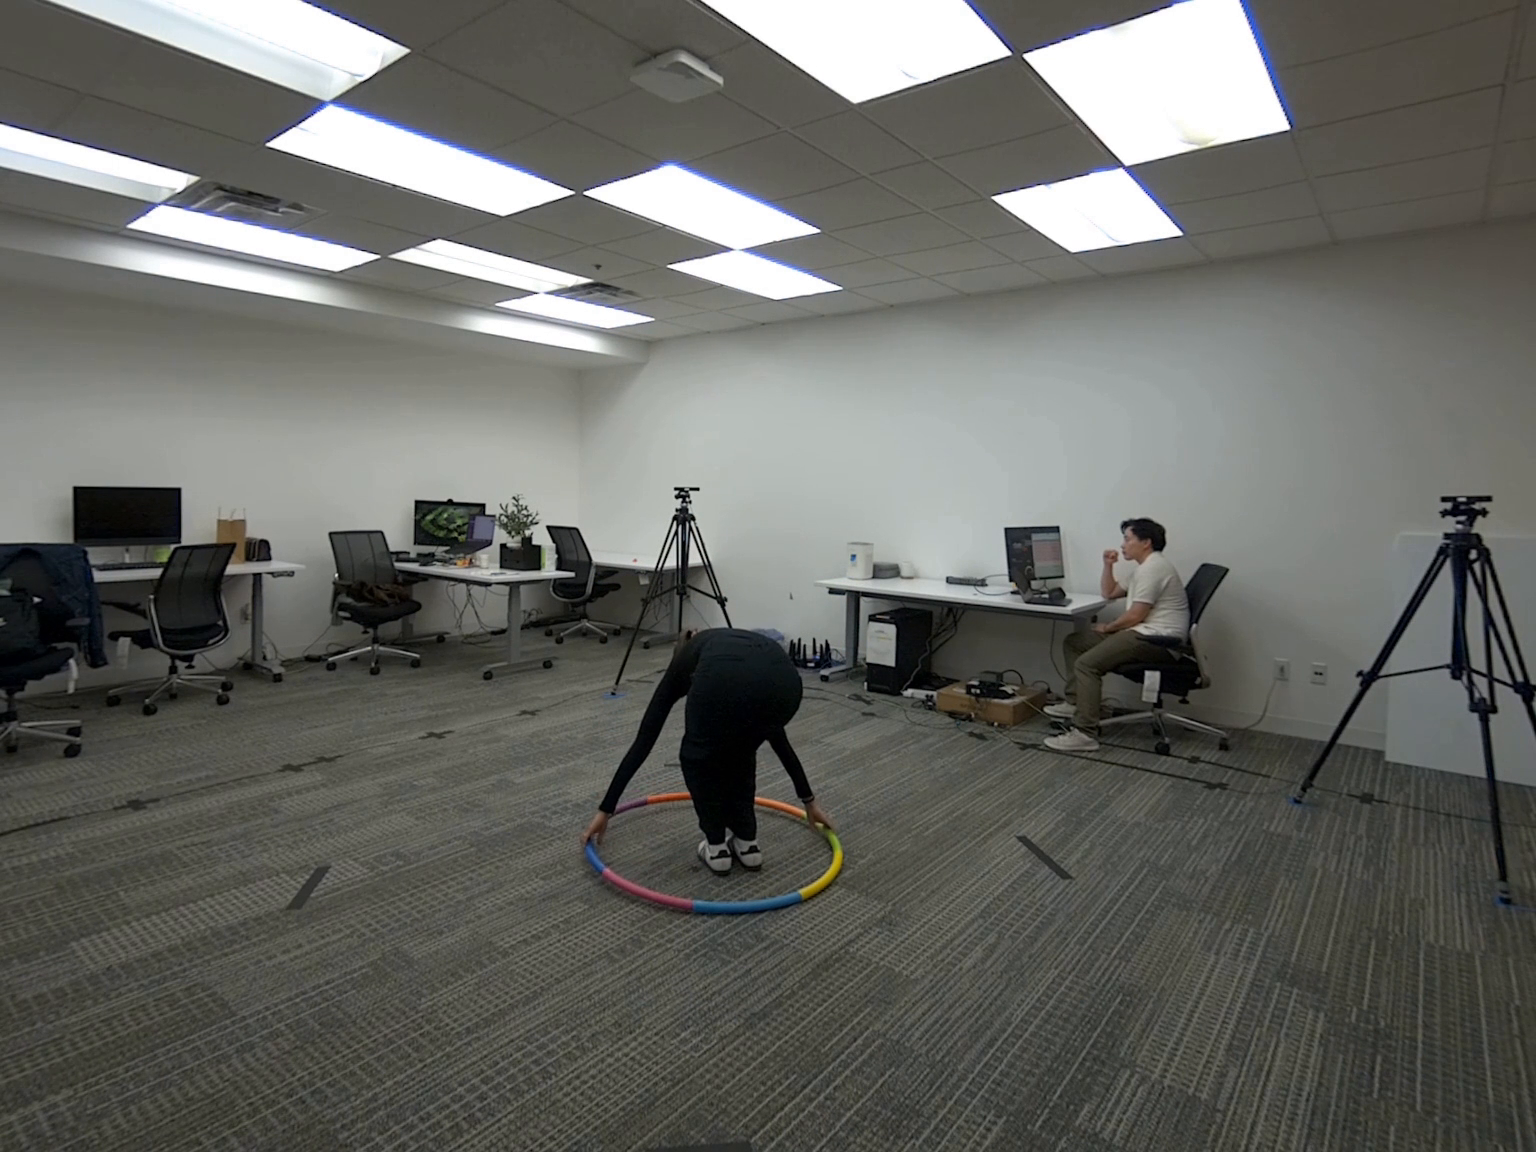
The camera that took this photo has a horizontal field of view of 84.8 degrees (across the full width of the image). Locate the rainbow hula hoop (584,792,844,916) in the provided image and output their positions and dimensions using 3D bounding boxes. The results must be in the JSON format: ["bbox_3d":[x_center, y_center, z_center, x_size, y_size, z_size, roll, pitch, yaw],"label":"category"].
[{"bbox_3d":[-0.222,1.005,3.248,0.978,0.035,0.985,2,7,-2],"label":"rainbow hula hoop"}]
